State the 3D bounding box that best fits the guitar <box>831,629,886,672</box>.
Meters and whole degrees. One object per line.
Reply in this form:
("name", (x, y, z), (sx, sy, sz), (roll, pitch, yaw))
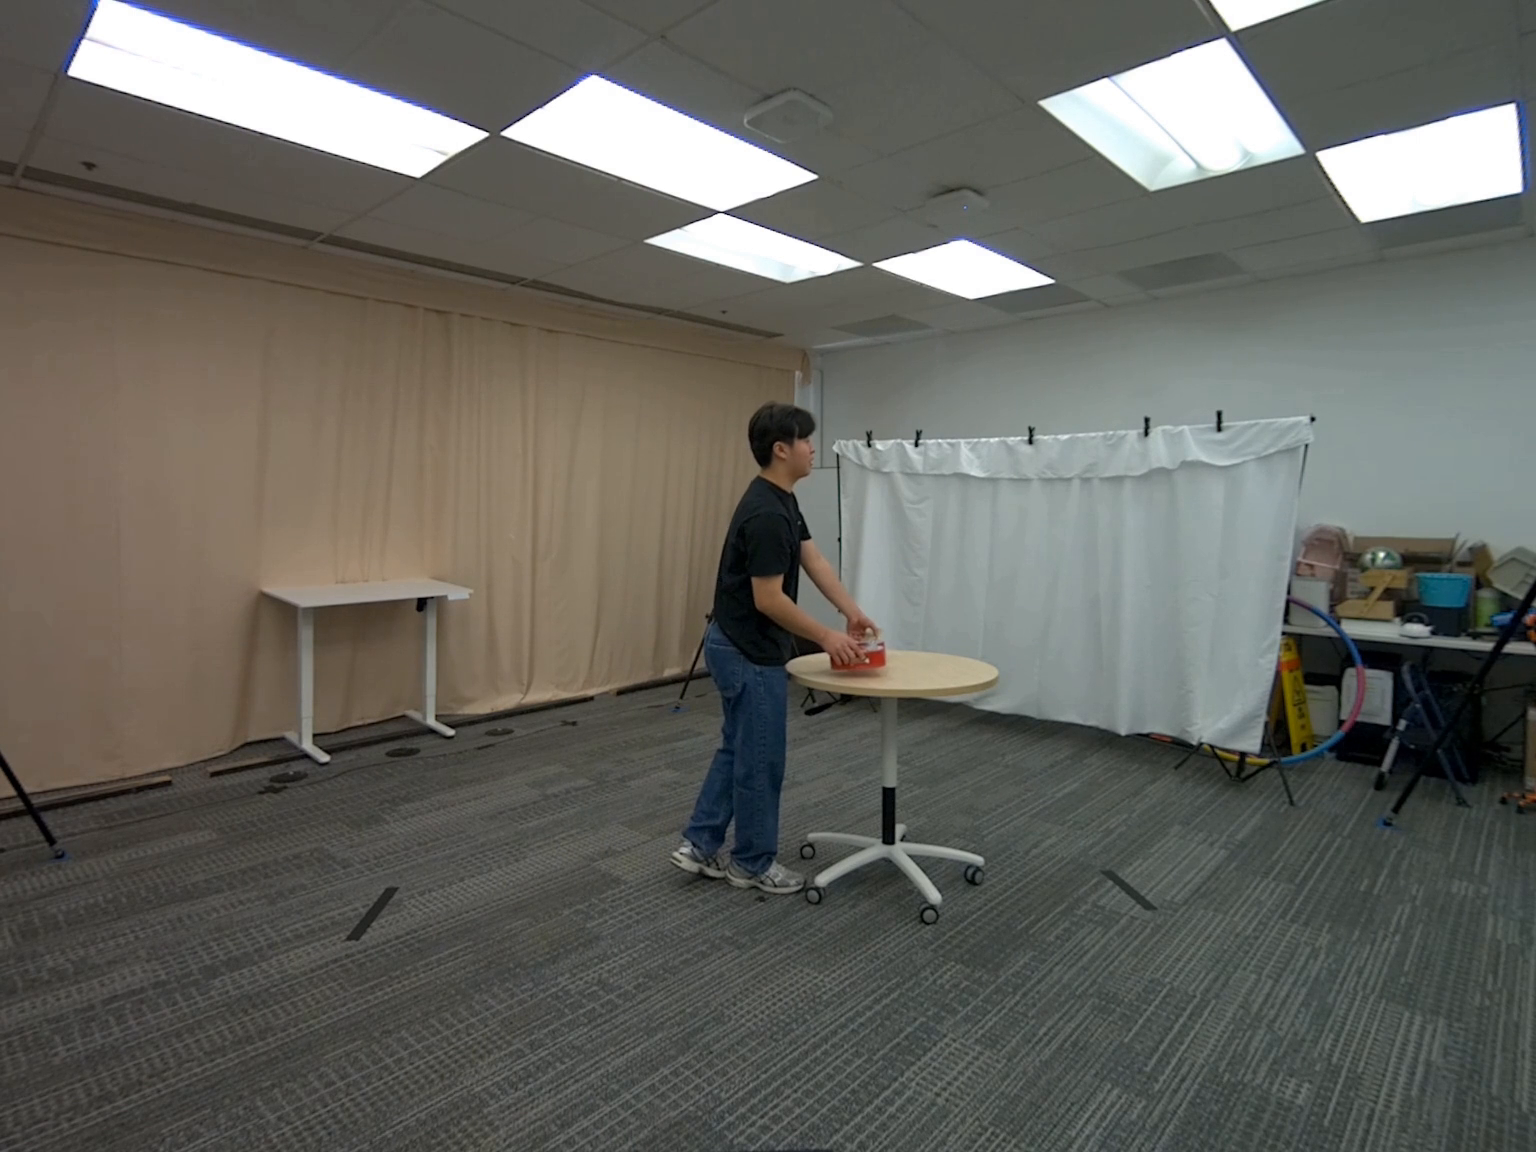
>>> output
("guitar", (0.394, 0.266, 3.113), (0.198, 0.070, 0.486), (-5, 5, 27))
